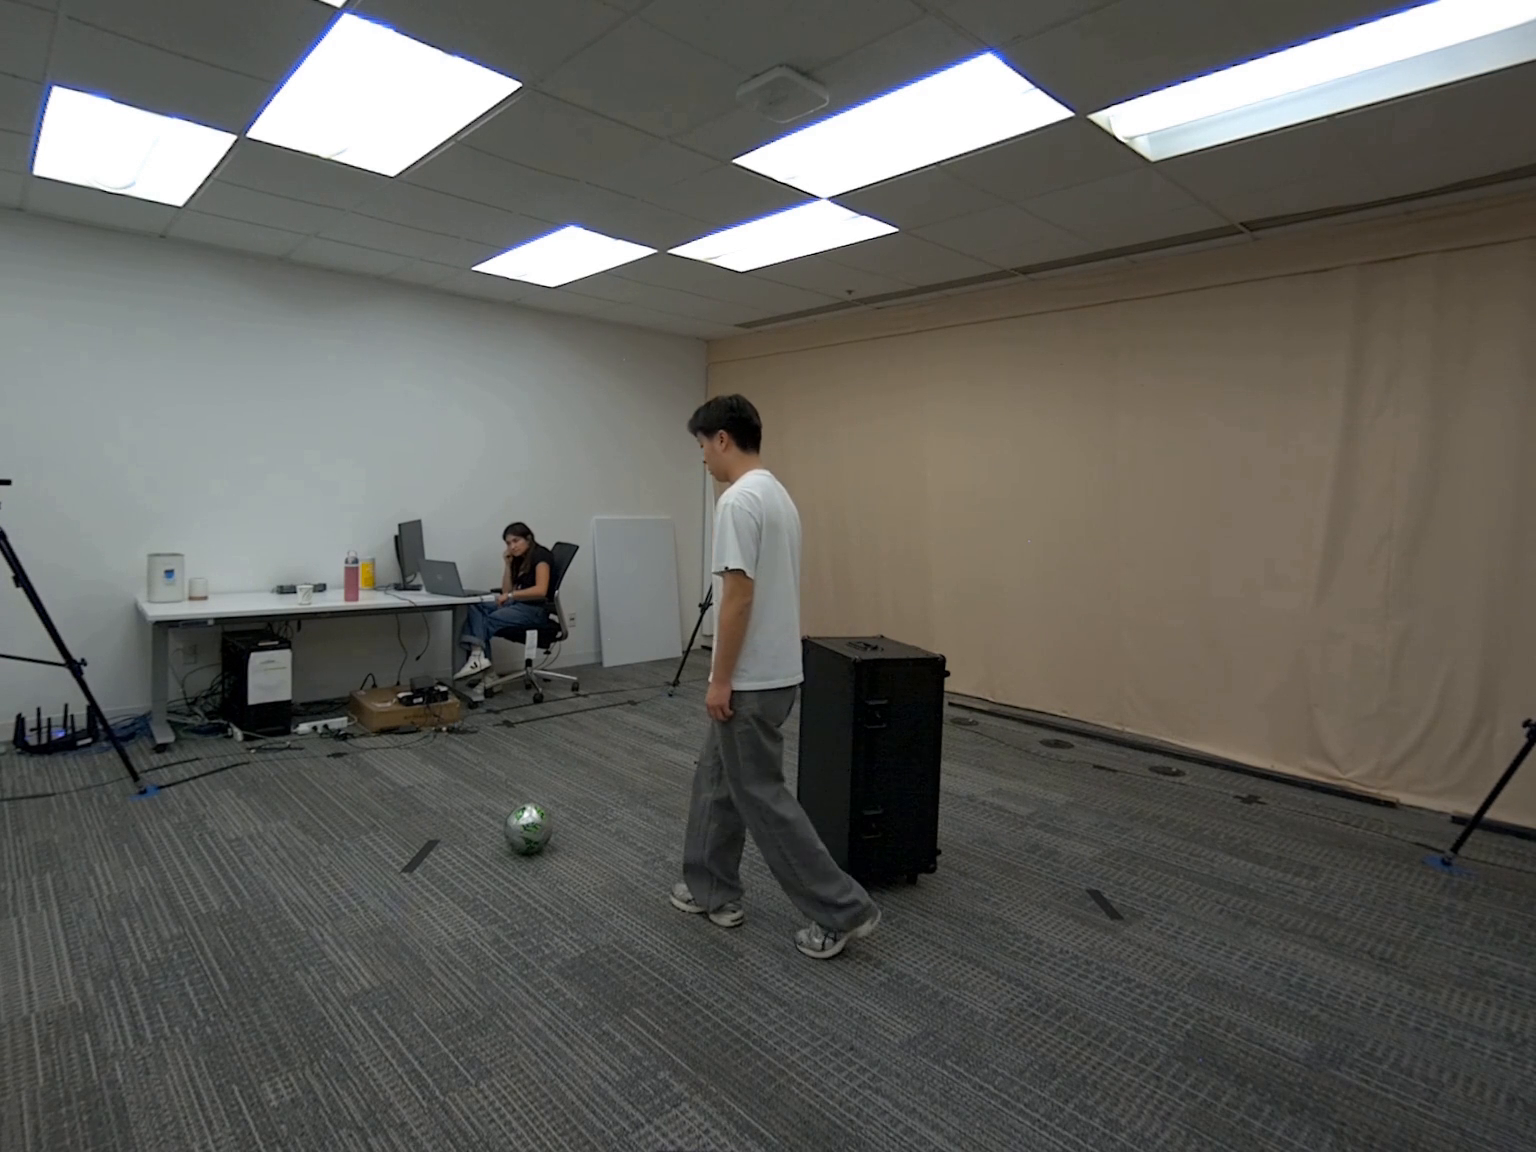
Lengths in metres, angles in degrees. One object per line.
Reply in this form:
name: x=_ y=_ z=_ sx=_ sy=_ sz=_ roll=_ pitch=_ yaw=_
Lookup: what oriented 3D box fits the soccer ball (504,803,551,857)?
soccer ball: x=-0.934 y=0.977 z=3.273 sx=0.187 sy=0.187 sz=0.188 roll=1 pitch=4 yaw=-1
